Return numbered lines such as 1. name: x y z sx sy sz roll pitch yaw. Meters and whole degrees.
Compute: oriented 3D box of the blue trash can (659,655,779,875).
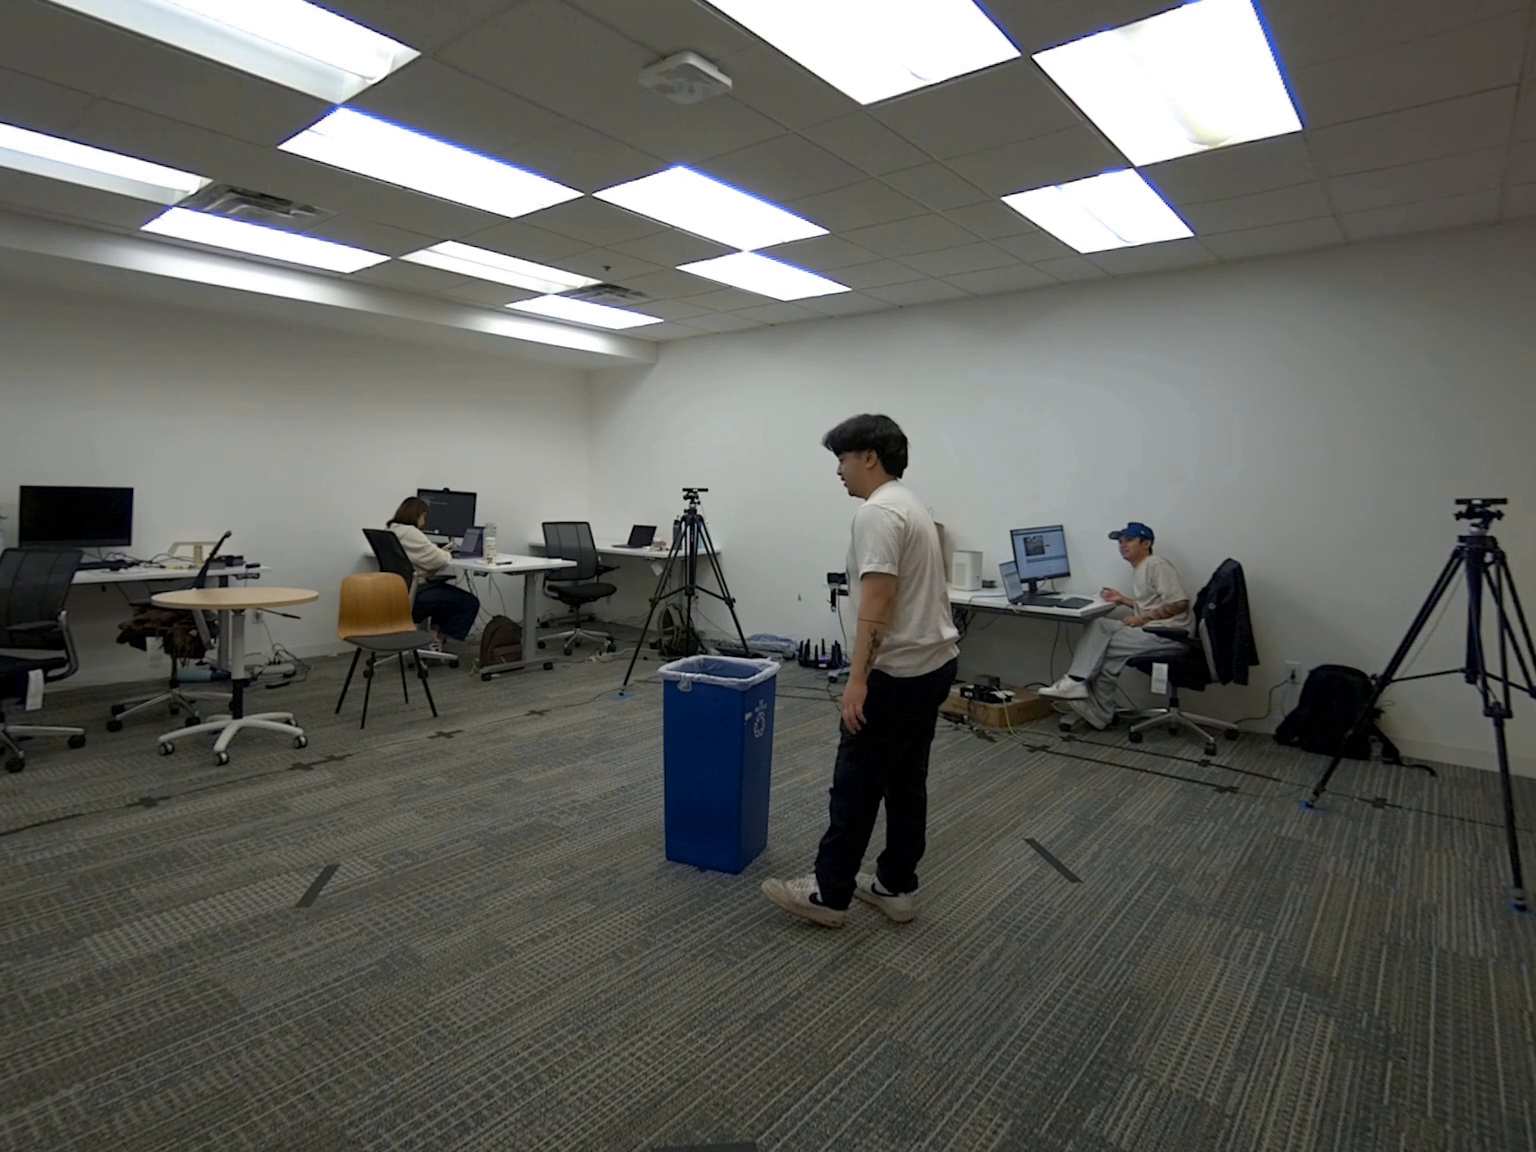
1. blue trash can: -0.198 0.697 3.251 0.387 0.711 0.366 3 4 23
